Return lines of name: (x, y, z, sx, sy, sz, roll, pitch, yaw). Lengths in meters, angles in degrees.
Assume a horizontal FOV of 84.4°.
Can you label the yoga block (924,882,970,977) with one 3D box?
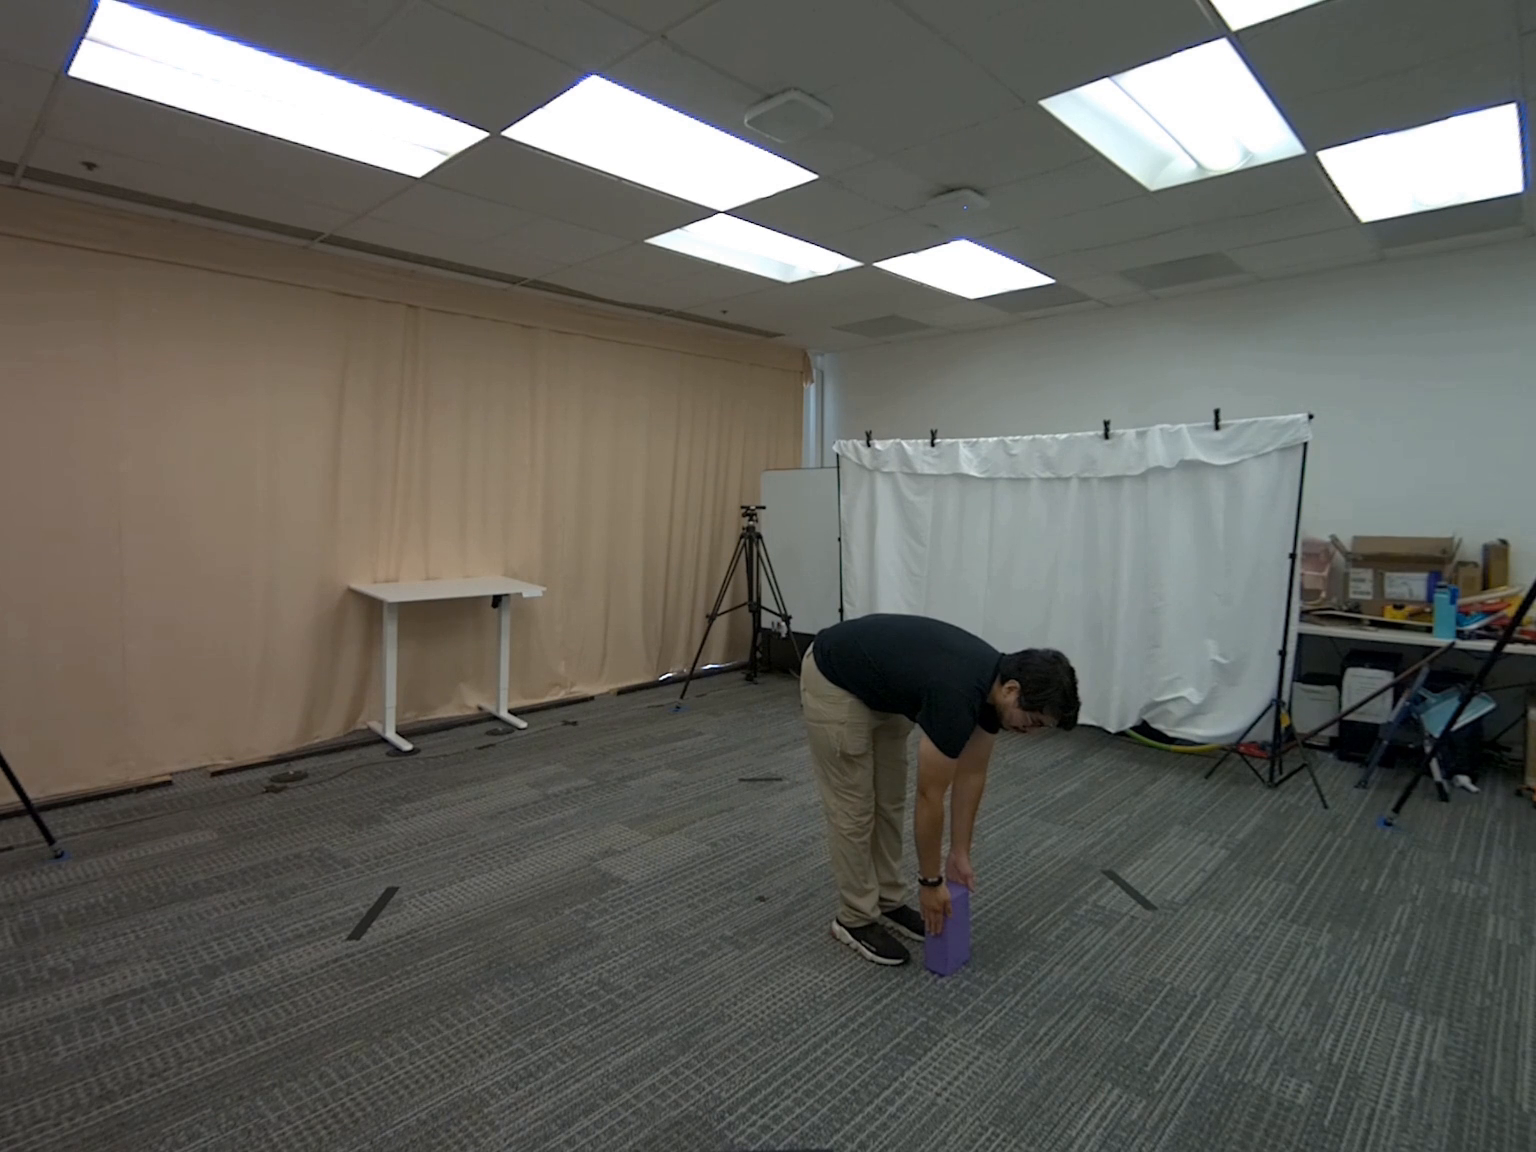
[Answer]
yoga block: (0.546, 1.065, 2.549, 0.144, 0.229, 0.079, -2, 4, -44)
